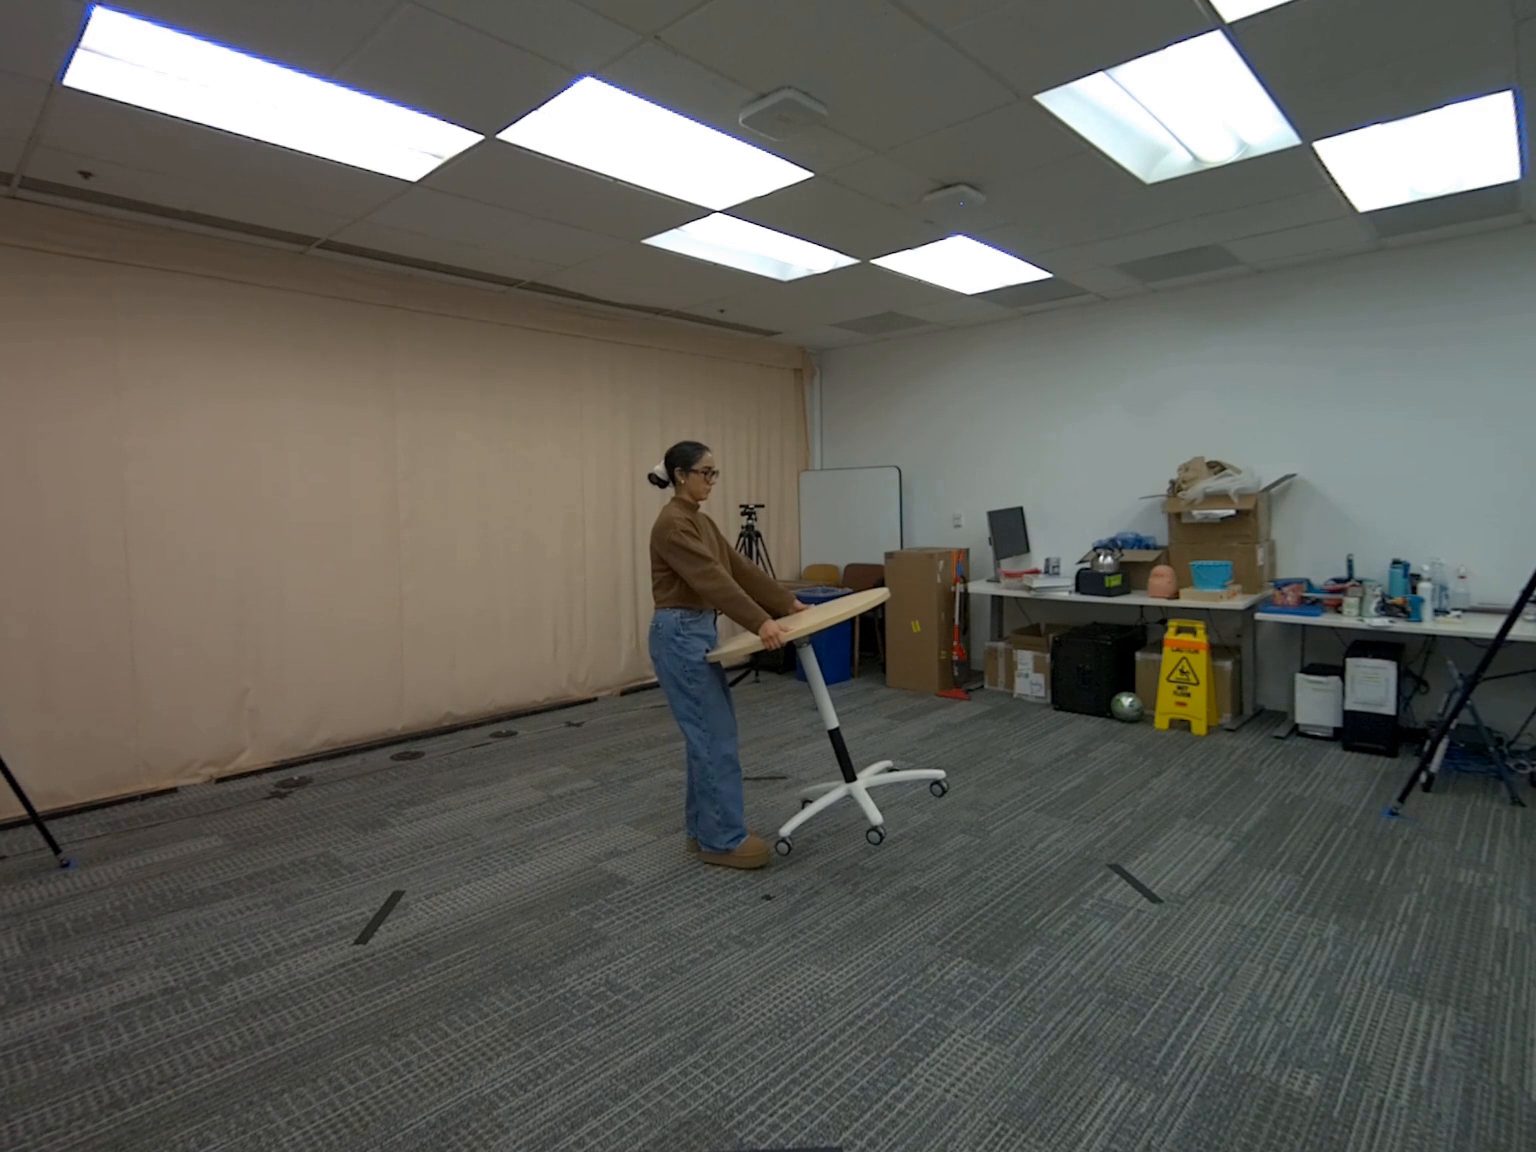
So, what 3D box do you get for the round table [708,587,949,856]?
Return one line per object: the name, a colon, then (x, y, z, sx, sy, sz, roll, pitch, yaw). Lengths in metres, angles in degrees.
round table: (0.259, 0.554, 3.288, 0.784, 0.787, 0.786, -19, 0, -2)
